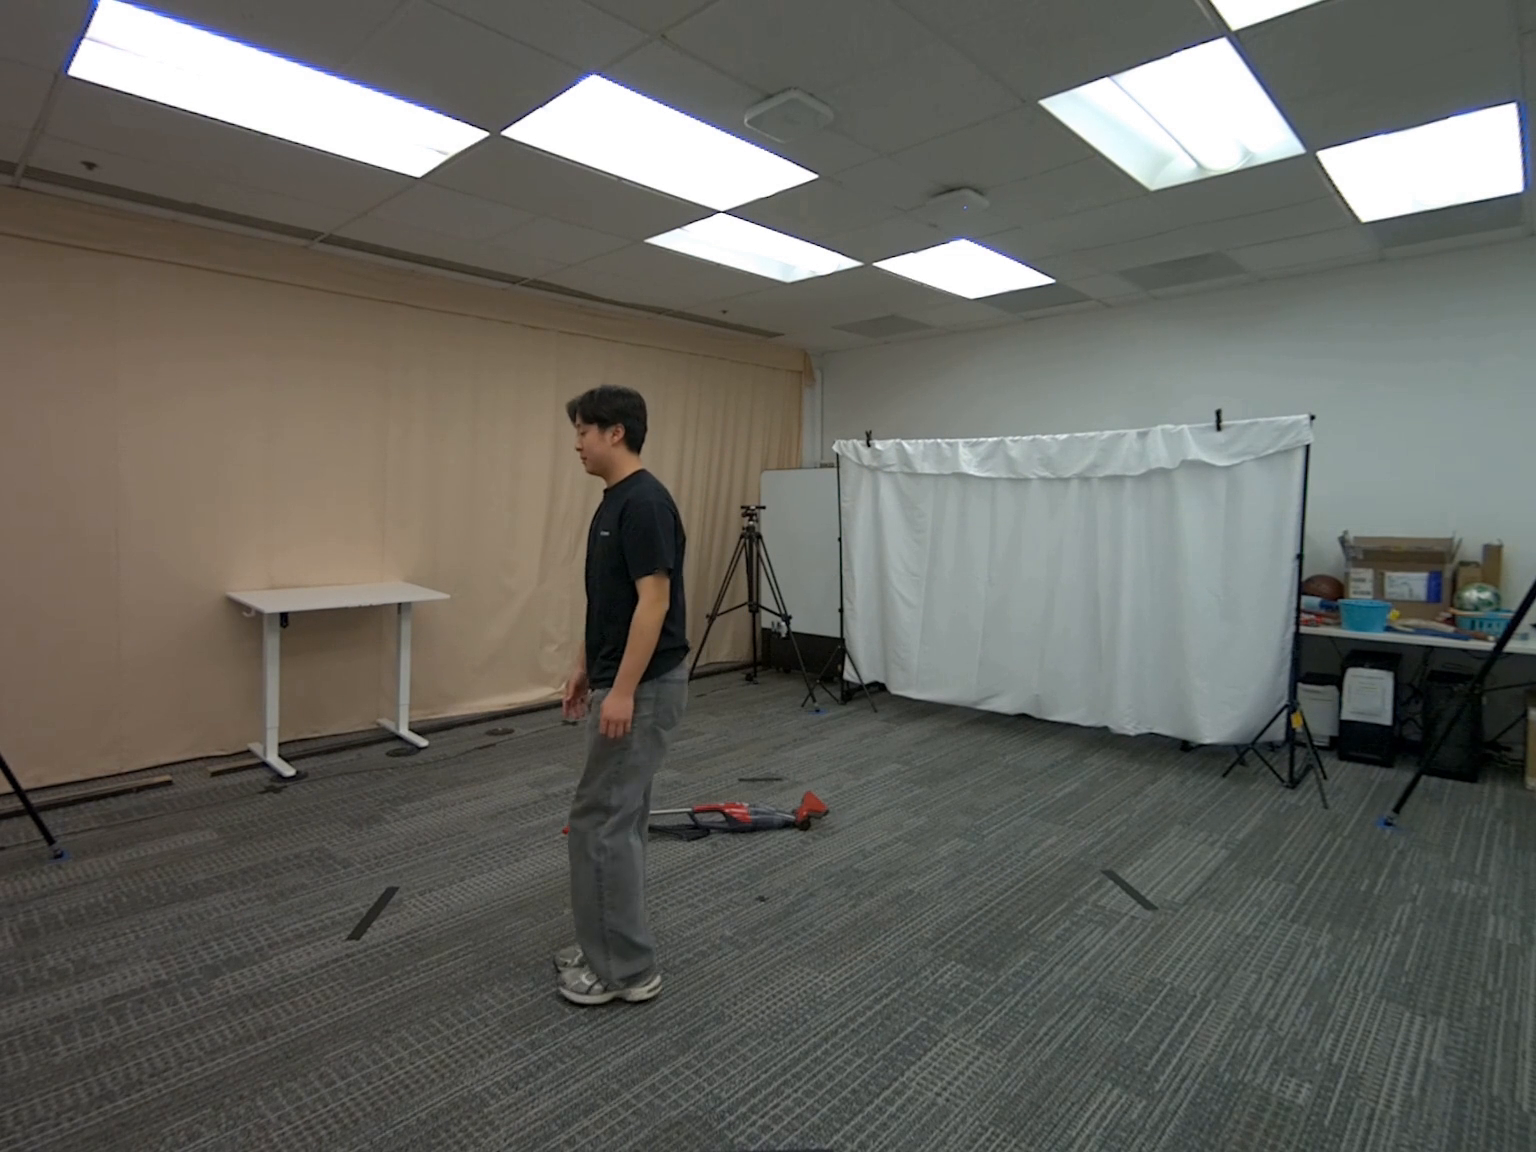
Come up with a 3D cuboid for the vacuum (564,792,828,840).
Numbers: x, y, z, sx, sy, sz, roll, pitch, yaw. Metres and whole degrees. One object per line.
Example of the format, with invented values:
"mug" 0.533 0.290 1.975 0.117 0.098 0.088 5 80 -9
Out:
"vacuum" -0.327 1.039 3.561 1.037 0.144 0.256 -2 2 -11
